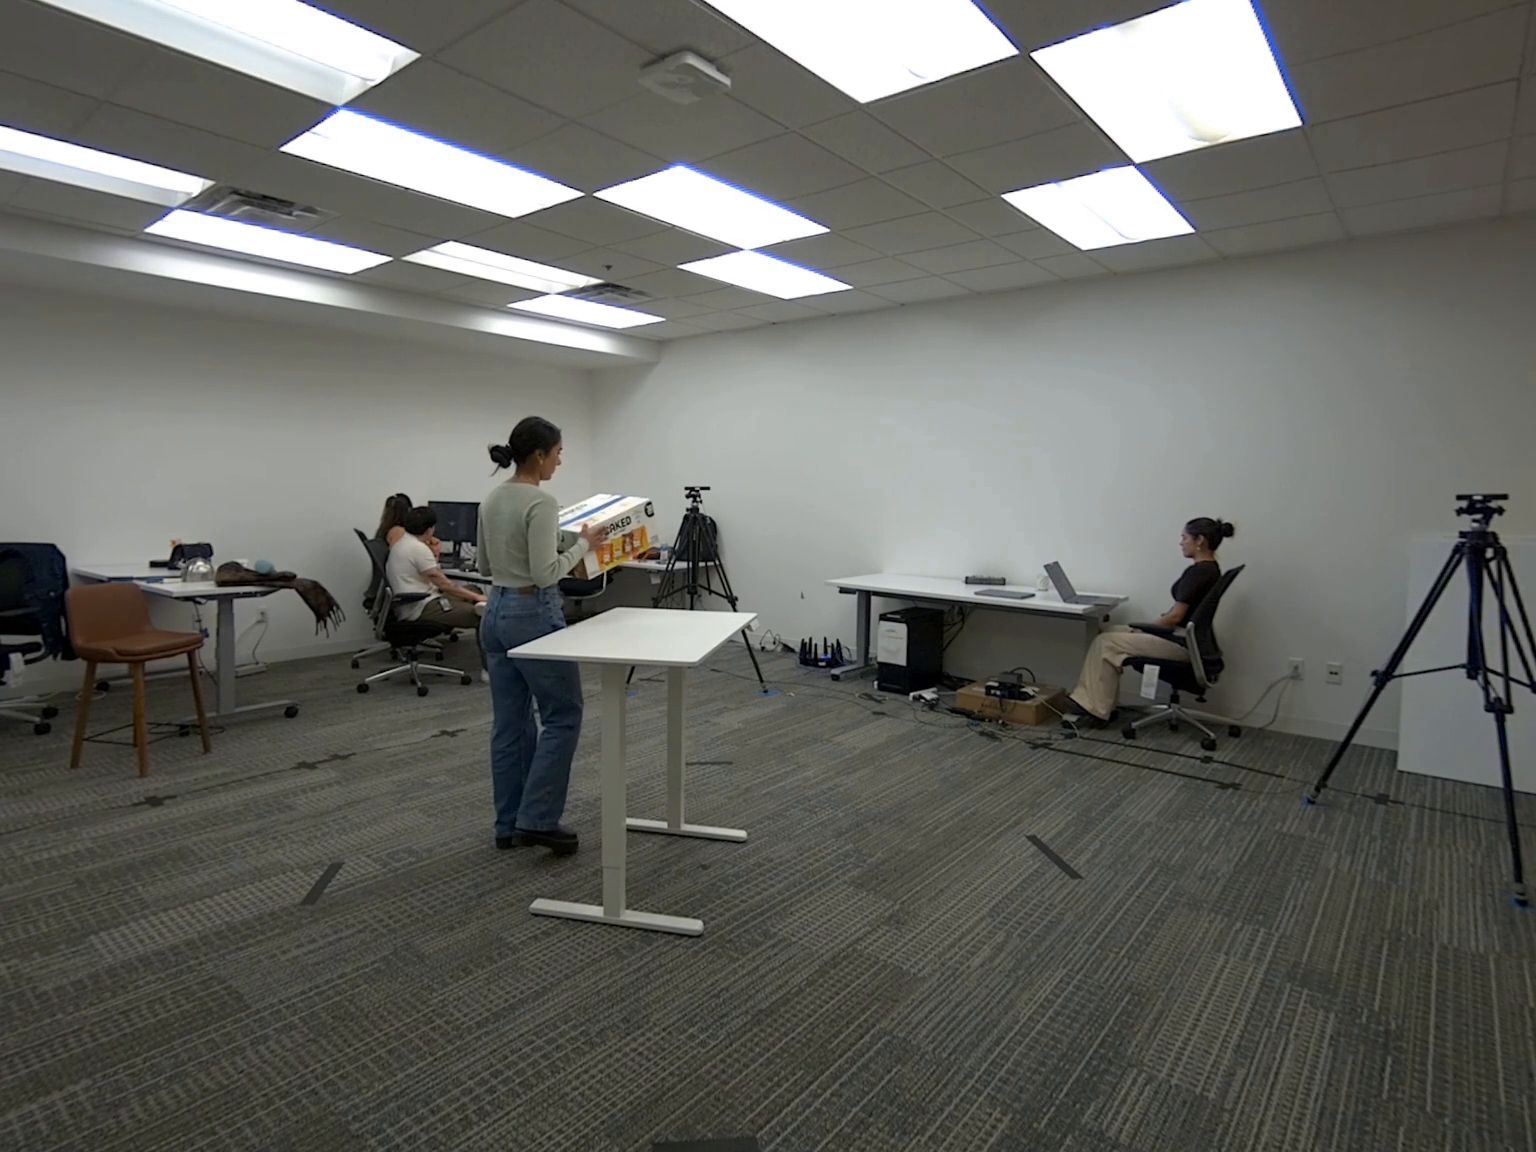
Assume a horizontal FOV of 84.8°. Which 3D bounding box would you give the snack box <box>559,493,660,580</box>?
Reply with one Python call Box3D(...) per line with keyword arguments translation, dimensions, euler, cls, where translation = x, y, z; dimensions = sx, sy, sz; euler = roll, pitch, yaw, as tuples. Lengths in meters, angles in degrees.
Box3D(translation=(-0.735, -0.186, 3.567), dimensions=(0.352, 0.201, 0.400), euler=(9, 29, 40), cls="snack box")
